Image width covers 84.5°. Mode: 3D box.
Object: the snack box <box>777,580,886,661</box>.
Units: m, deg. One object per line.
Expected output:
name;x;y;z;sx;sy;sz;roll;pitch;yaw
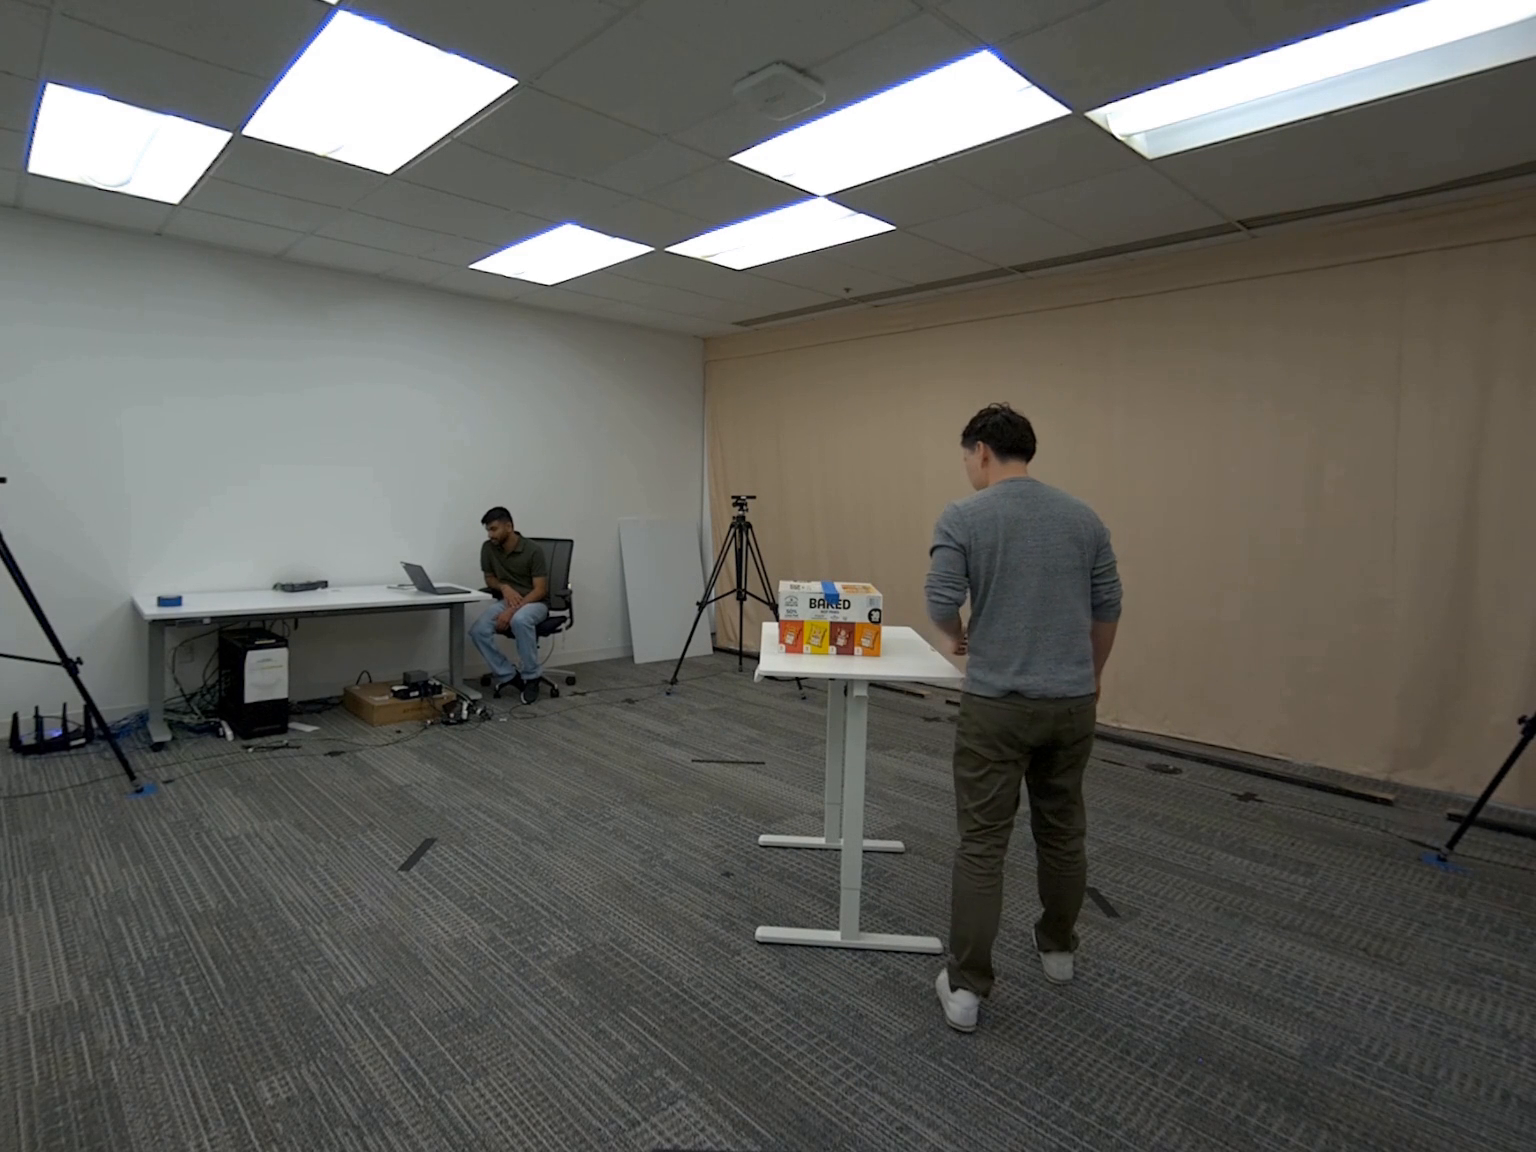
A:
snack box;0.209;0.143;2.949;0.341;0.205;0.405;3;5;3
